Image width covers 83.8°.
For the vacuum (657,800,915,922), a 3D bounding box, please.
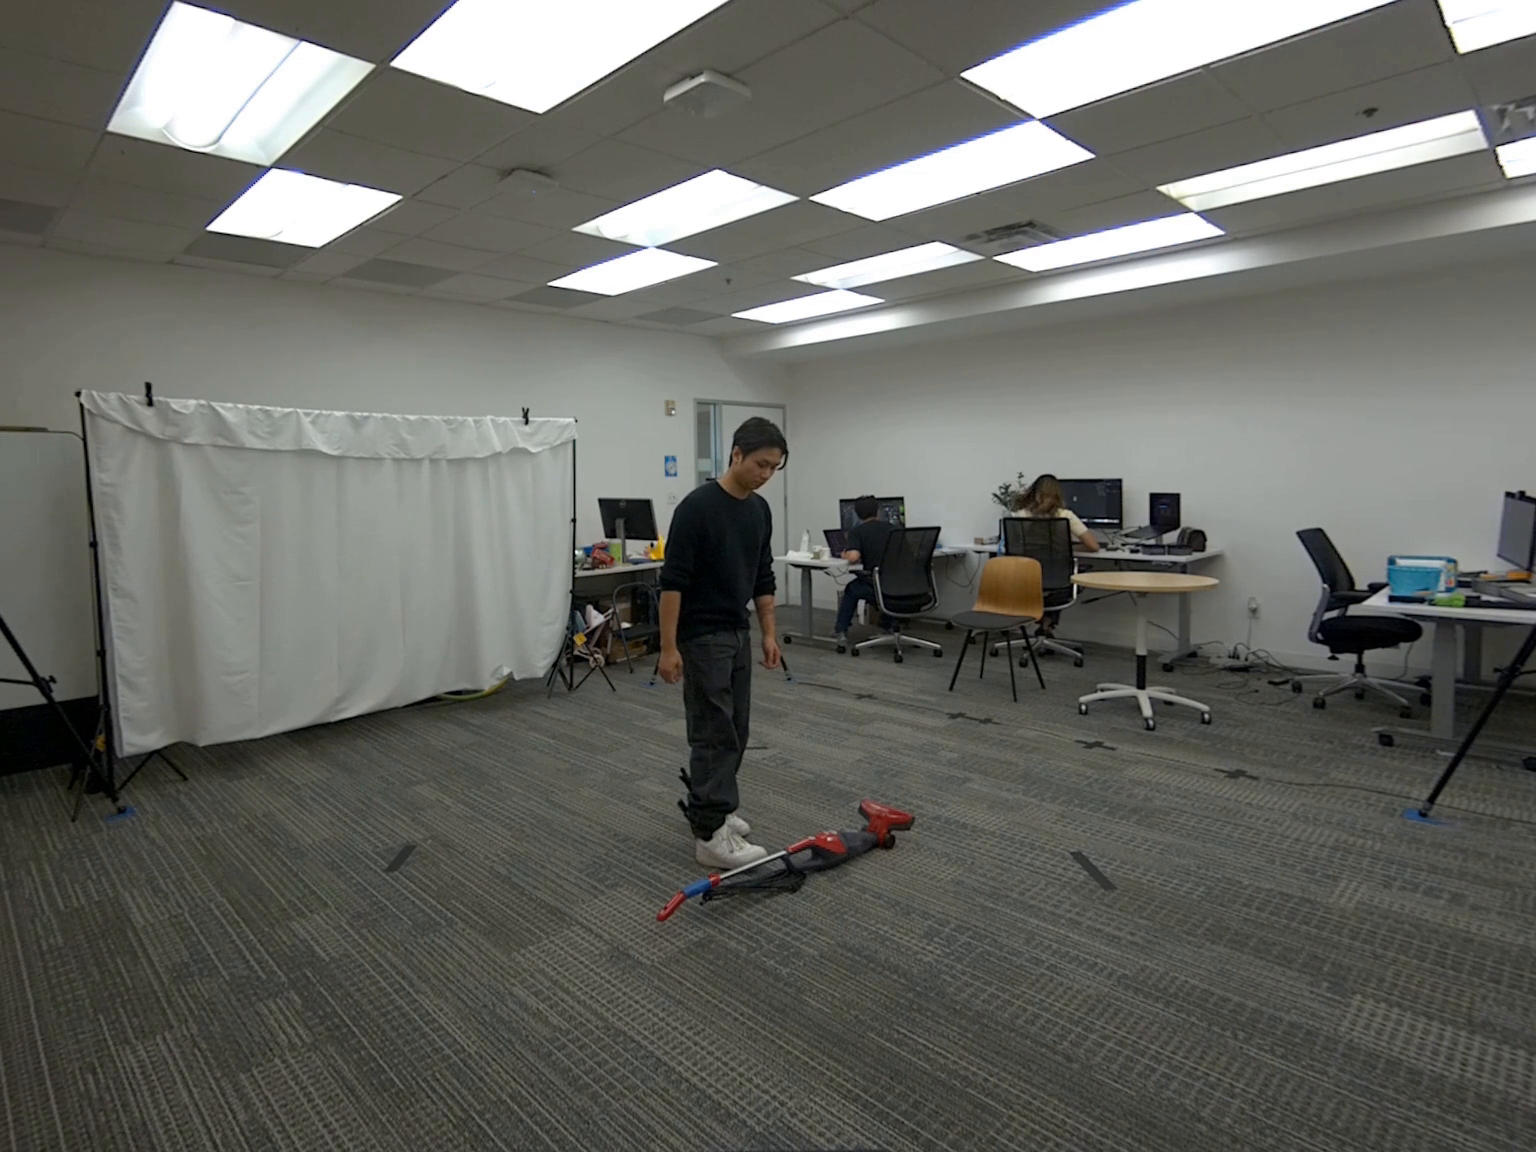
[{"bbox_3d":[0.061,0.998,2.931,1.023,0.143,0.260,-7,6,-40],"label":"vacuum"}]
